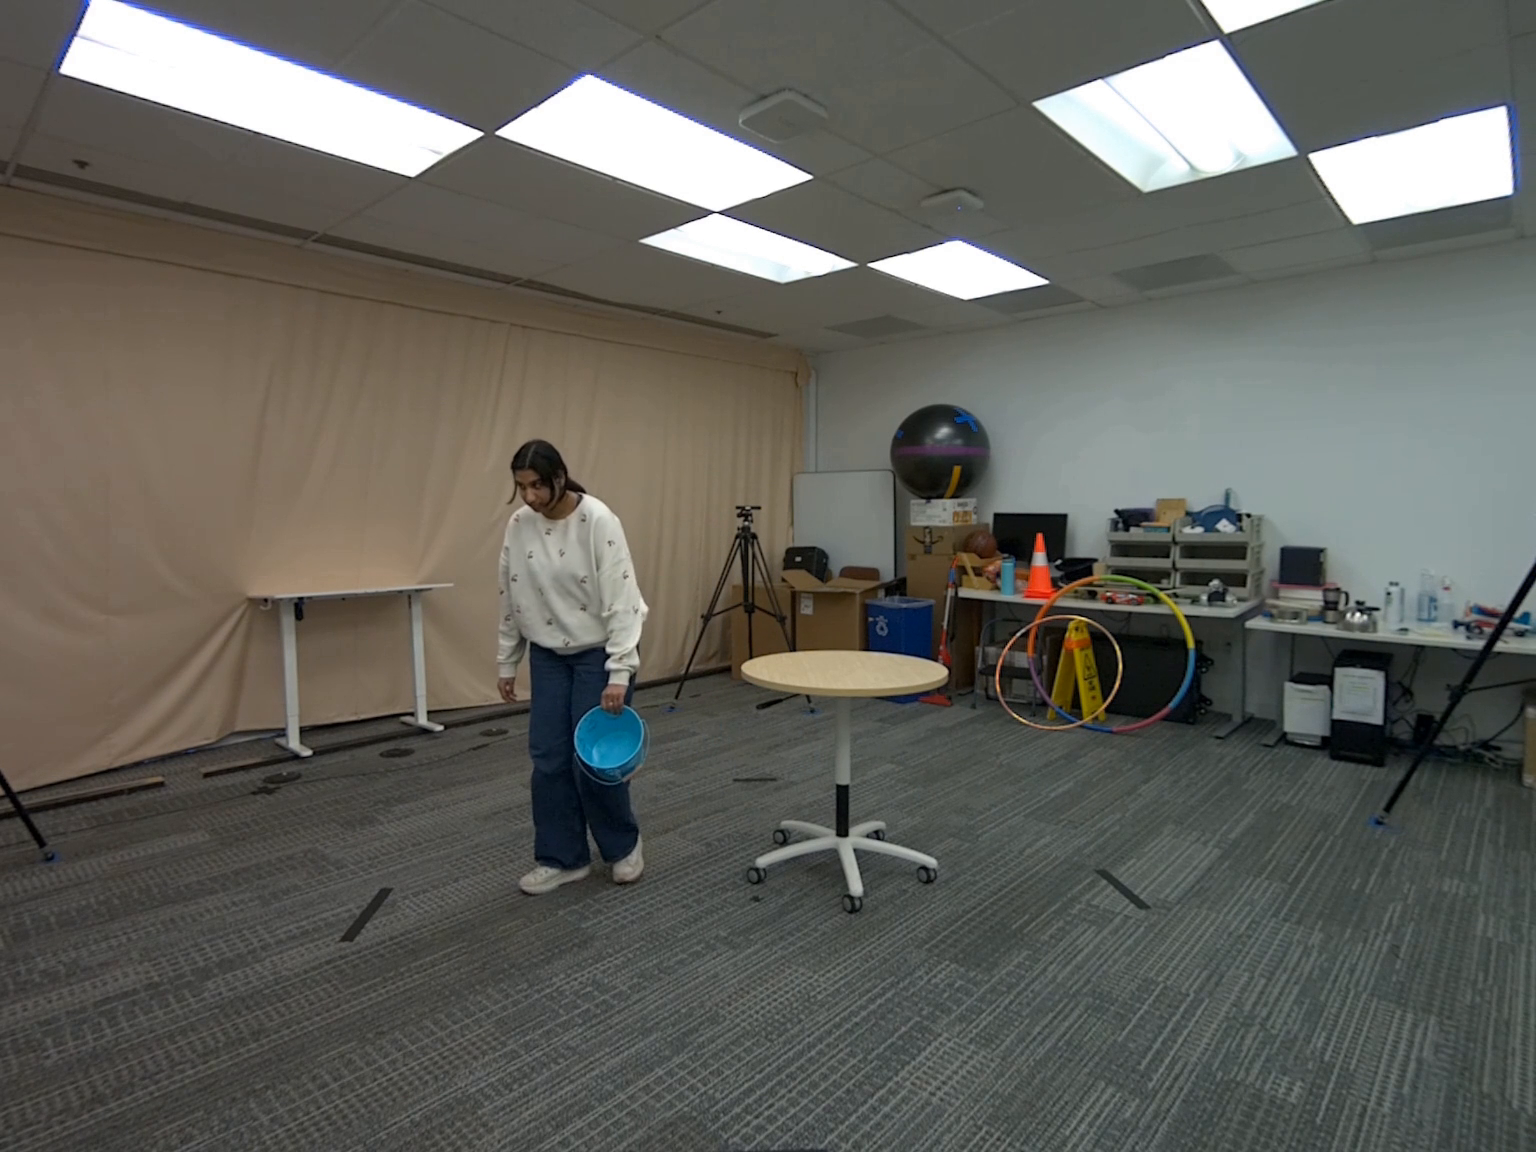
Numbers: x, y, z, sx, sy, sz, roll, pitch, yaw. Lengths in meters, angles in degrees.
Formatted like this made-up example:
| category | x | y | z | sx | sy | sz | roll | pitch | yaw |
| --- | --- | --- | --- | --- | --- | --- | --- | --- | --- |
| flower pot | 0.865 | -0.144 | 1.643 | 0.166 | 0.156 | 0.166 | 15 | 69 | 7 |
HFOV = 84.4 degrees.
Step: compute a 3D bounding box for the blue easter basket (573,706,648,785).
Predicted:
| category | x | y | z | sx | sy | sz | roll | pitch | yaw |
| --- | --- | --- | --- | --- | --- | --- | --- | --- | --- |
| blue easter basket | -0.519 | 0.580 | 2.816 | 0.244 | 0.248 | 0.152 | -4 | -41 | 2 |
